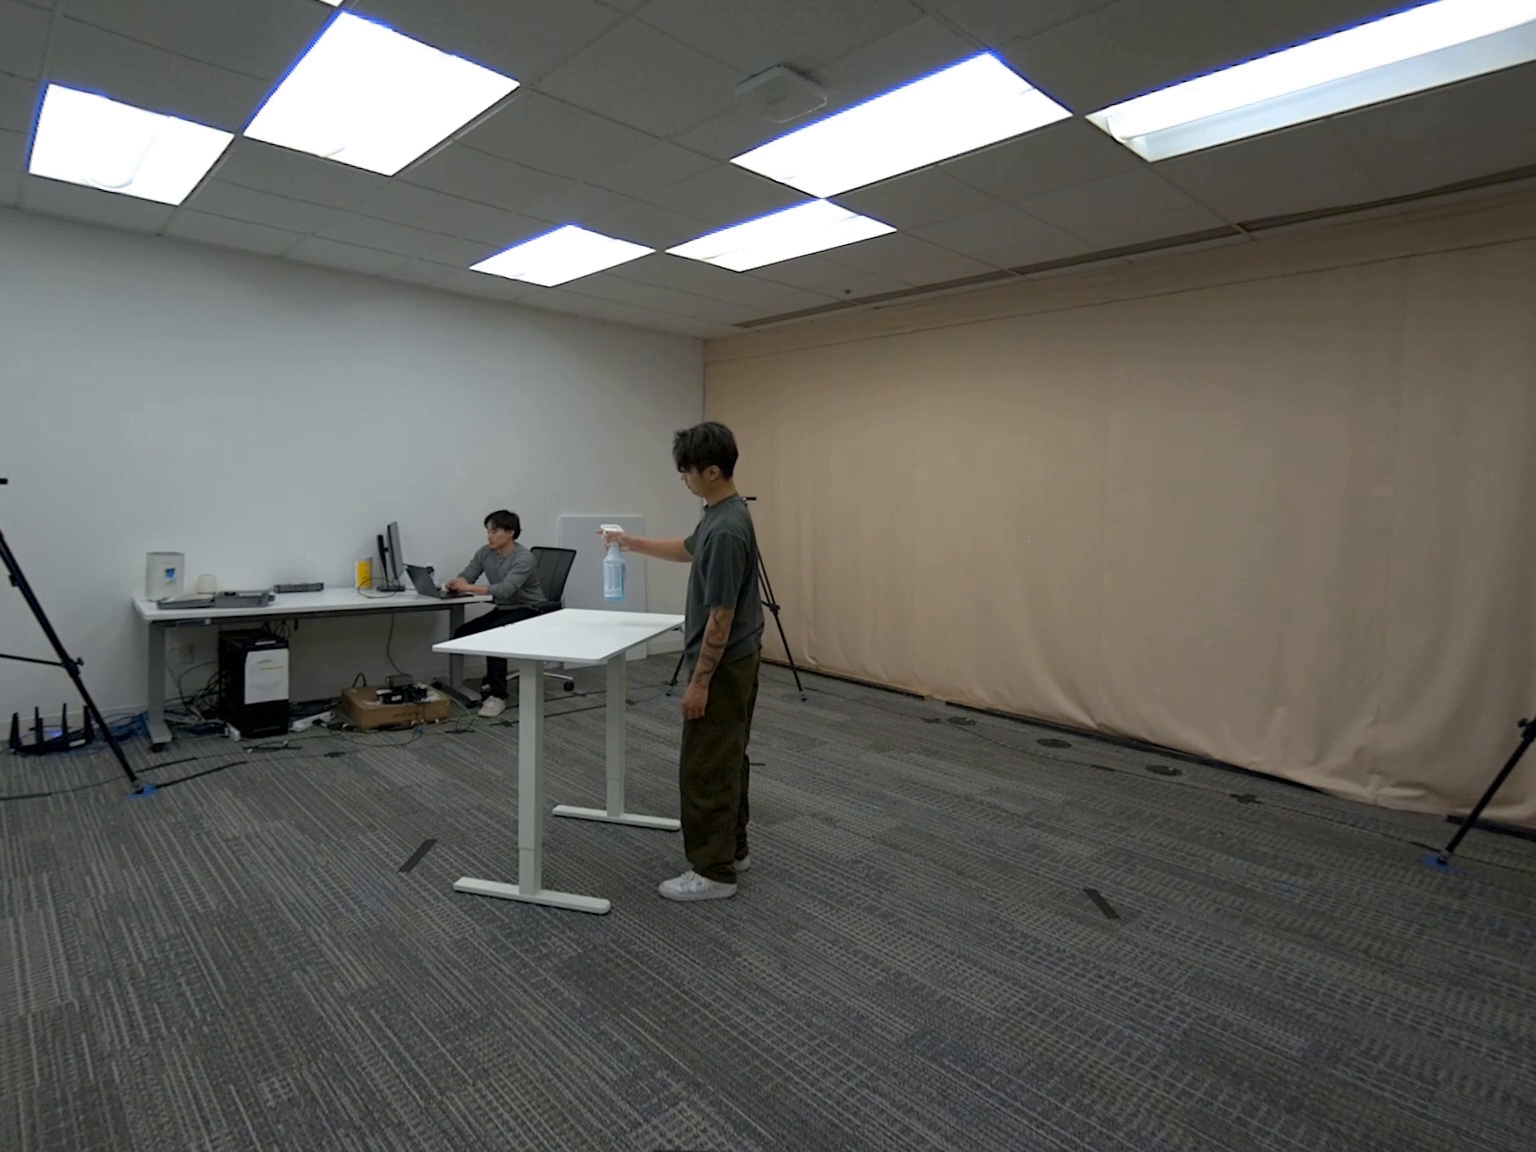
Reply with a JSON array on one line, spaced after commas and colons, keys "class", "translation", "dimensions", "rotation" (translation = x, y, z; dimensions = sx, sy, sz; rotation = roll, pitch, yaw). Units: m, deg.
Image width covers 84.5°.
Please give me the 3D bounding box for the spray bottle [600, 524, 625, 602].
[{"class": "spray bottle", "translation": [-0.606, -0.052, 3.311], "dimensions": [0.092, 0.297, 0.085], "rotation": [1, 1, 32]}]
